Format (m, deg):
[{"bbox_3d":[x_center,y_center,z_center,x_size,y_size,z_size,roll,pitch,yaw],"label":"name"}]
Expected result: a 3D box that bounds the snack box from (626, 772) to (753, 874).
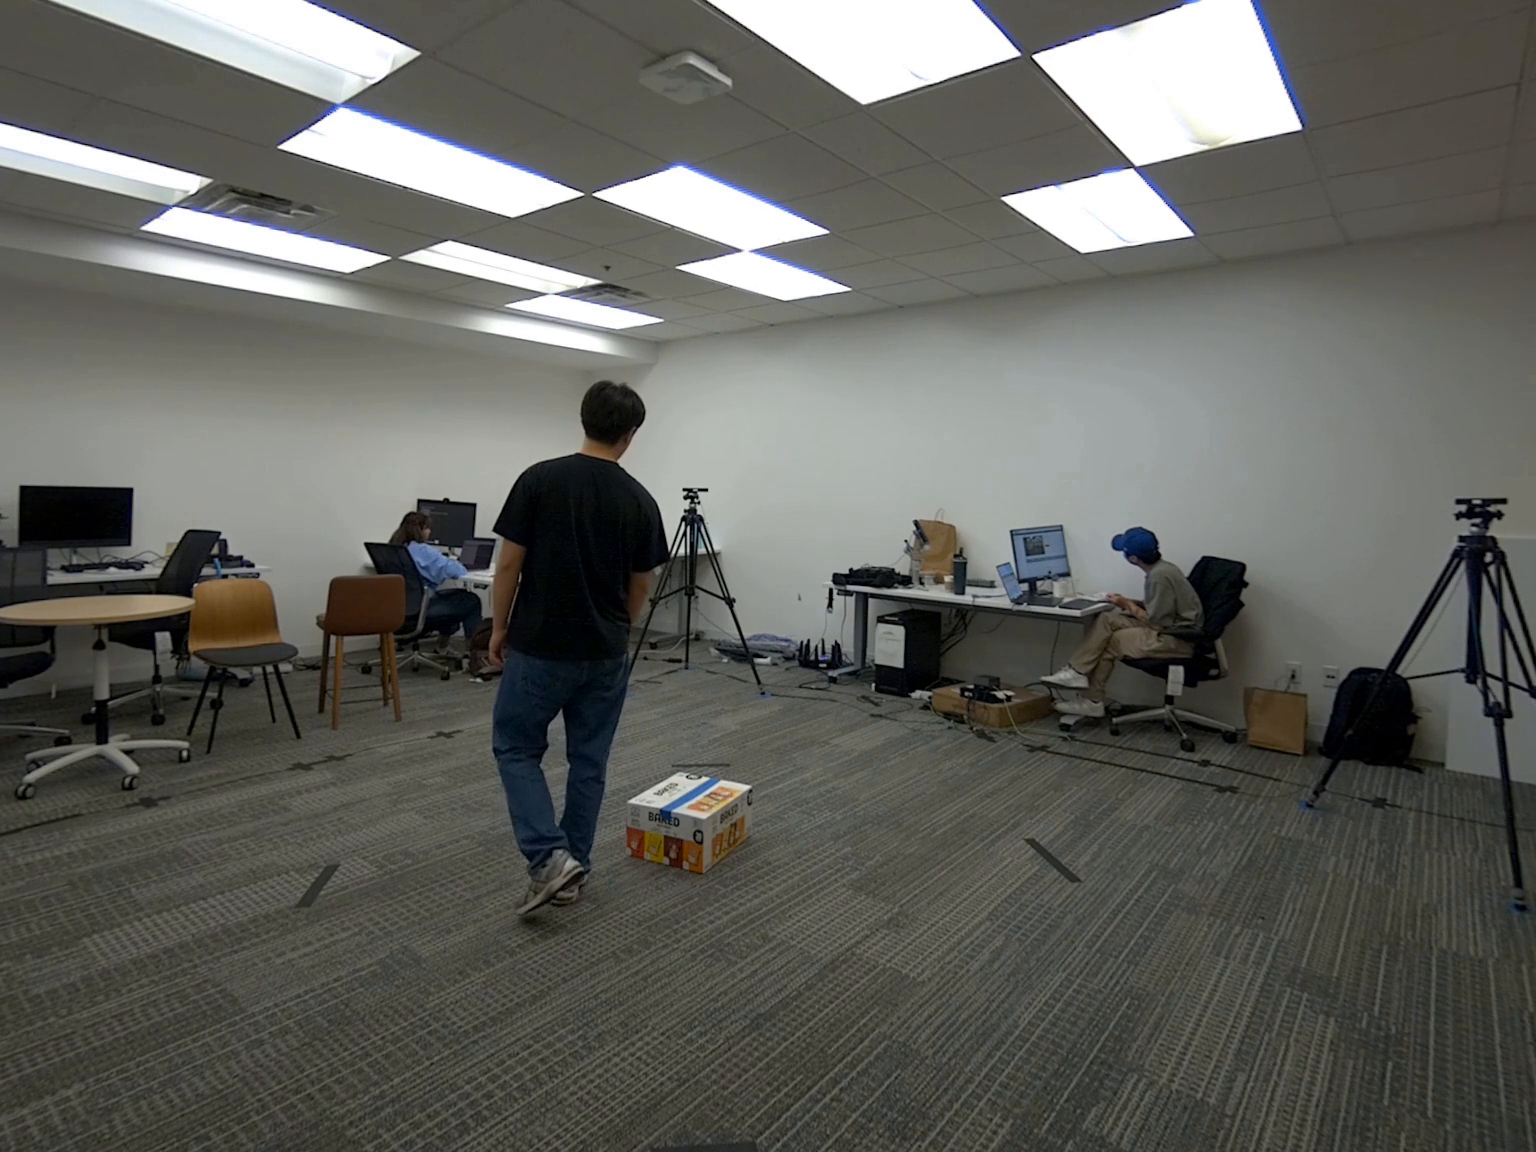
[{"bbox_3d":[-0.310,0.945,3.316,0.349,0.205,0.396,3,6,26],"label":"snack box"}]
